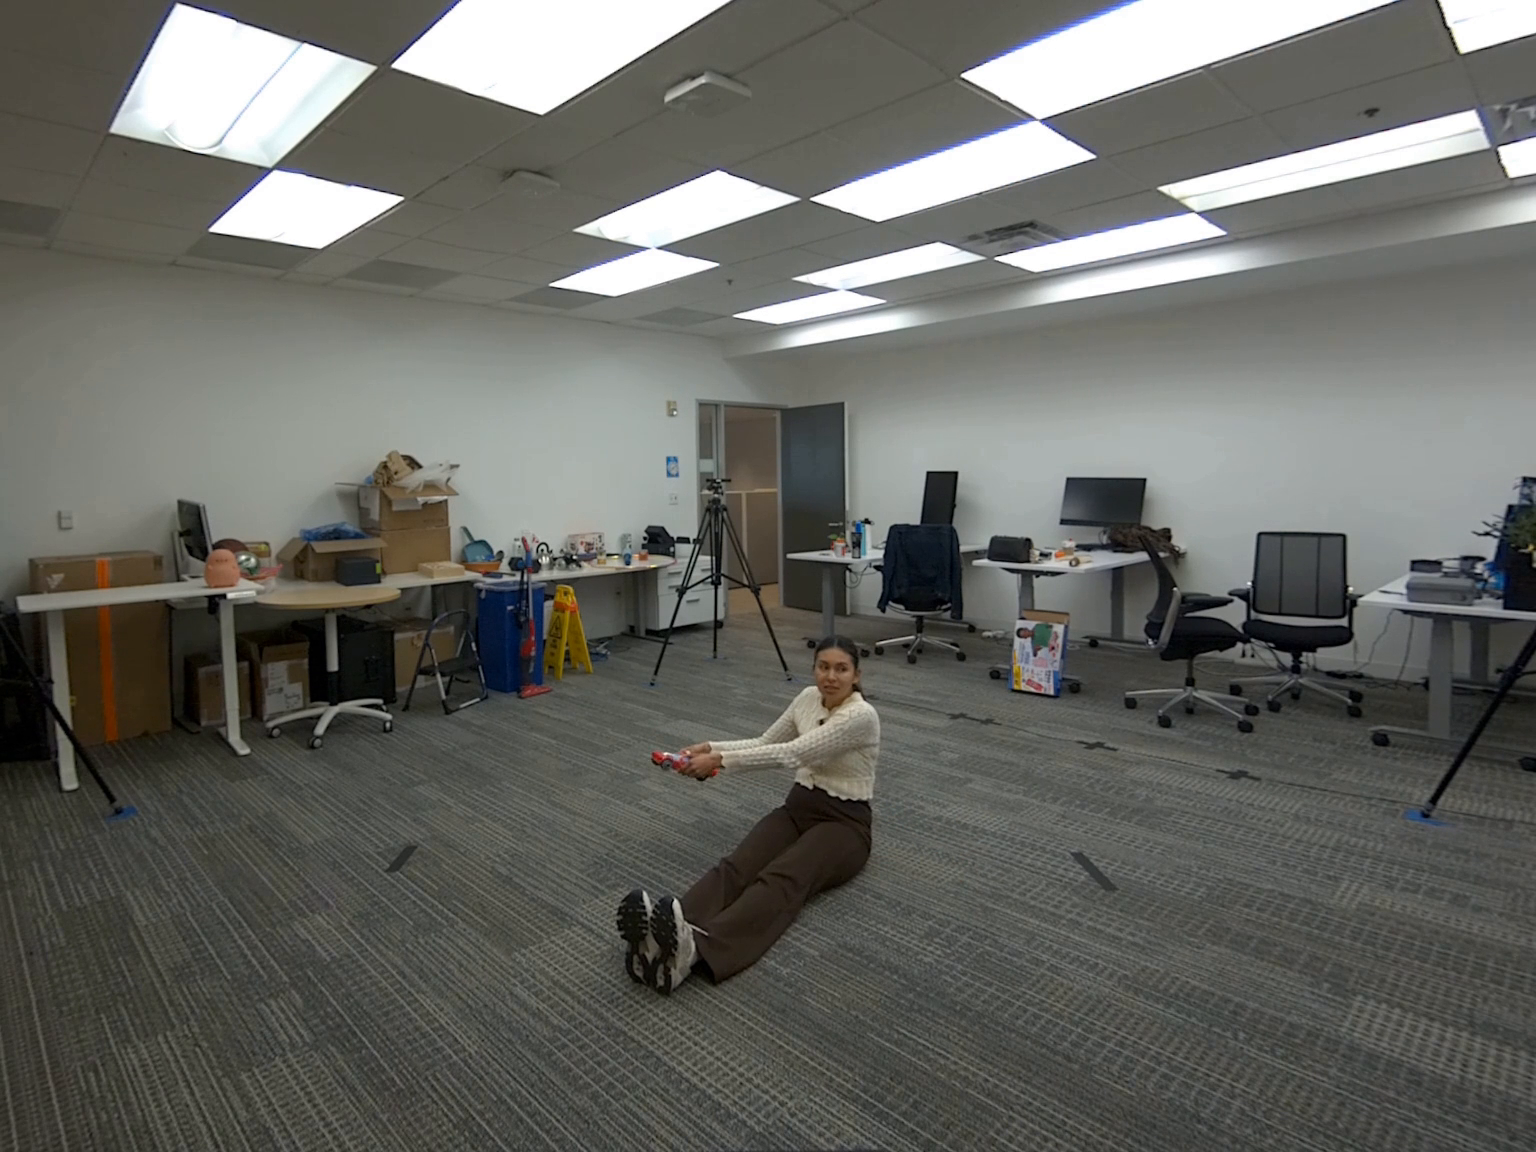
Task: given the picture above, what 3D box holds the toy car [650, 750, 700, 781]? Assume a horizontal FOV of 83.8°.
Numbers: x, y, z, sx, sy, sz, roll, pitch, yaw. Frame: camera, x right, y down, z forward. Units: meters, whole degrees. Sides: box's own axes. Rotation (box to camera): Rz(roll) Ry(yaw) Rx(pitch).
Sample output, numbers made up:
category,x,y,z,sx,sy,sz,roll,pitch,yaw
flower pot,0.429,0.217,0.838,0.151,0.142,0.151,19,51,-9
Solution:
category,x,y,z,sx,sy,sz,roll,pitch,yaw
toy car,-0.295,0.697,3.159,0.247,0.083,0.133,7,-3,-30
